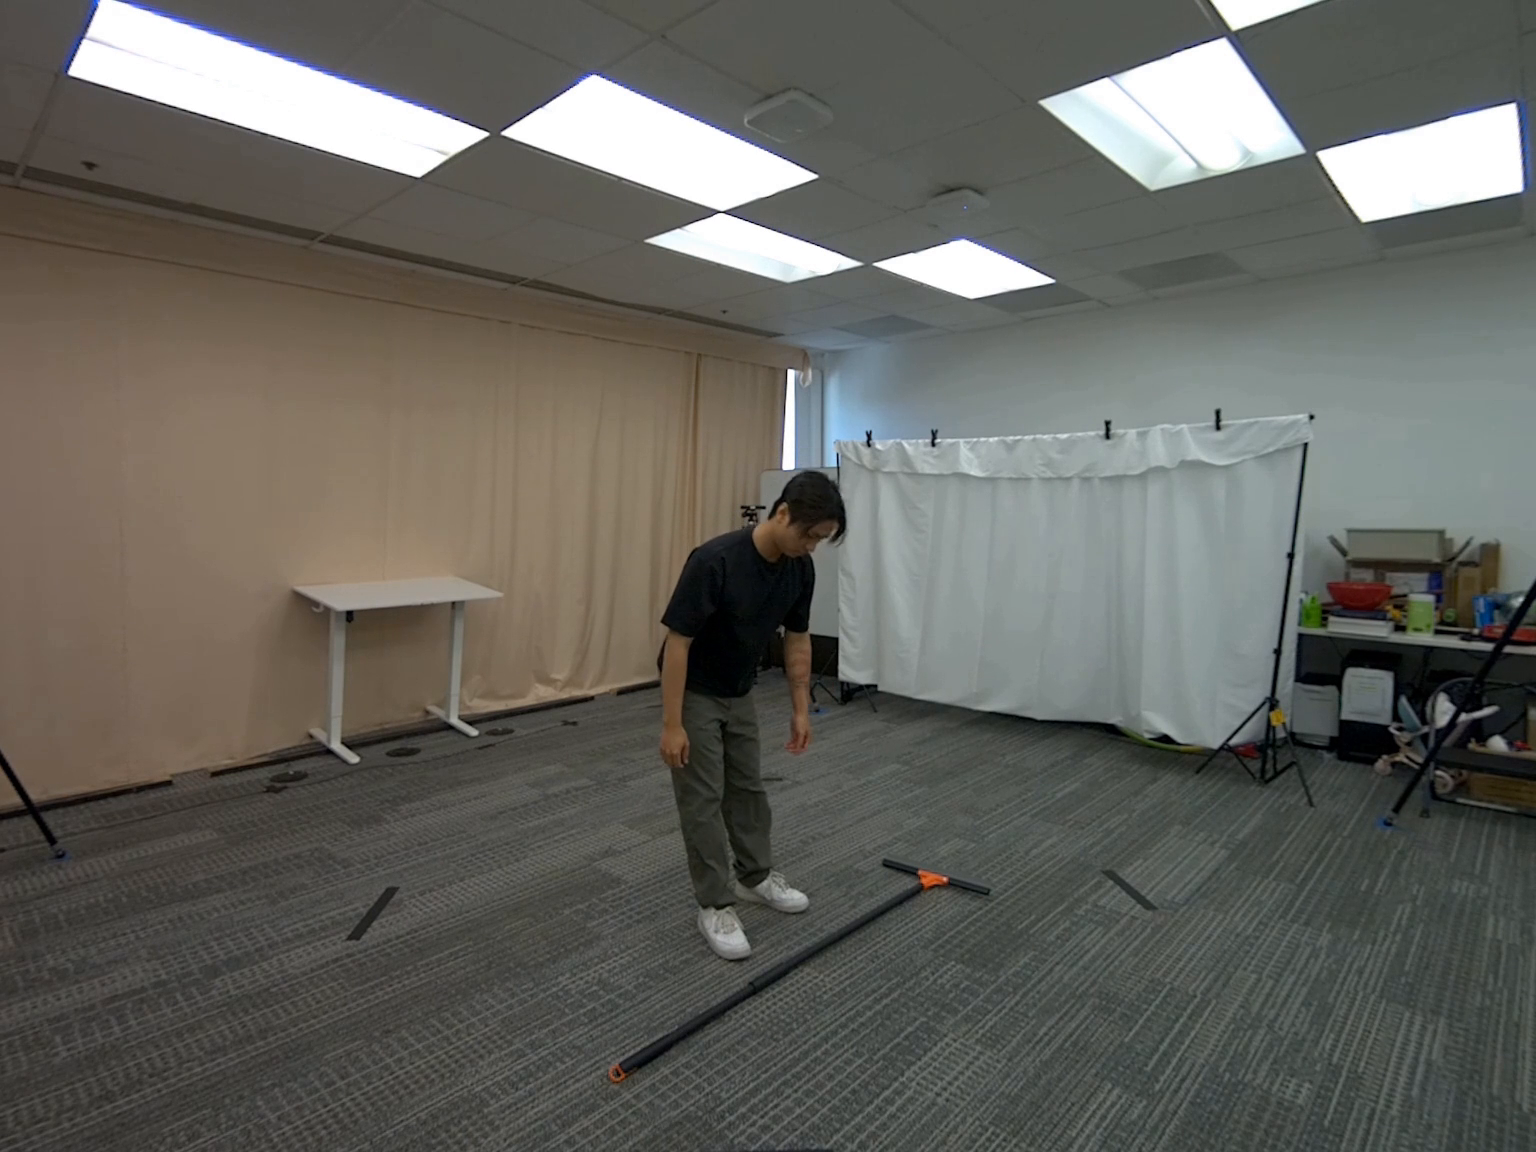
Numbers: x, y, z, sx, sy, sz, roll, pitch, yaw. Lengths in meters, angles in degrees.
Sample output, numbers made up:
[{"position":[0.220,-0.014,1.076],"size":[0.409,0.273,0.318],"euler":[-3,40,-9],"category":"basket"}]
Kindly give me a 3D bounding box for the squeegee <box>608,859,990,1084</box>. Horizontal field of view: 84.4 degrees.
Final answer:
[{"position":[0.127,1.137,2.585],"size":[0.452,0.053,1.491],"euler":[2,6,43],"category":"squeegee"}]
